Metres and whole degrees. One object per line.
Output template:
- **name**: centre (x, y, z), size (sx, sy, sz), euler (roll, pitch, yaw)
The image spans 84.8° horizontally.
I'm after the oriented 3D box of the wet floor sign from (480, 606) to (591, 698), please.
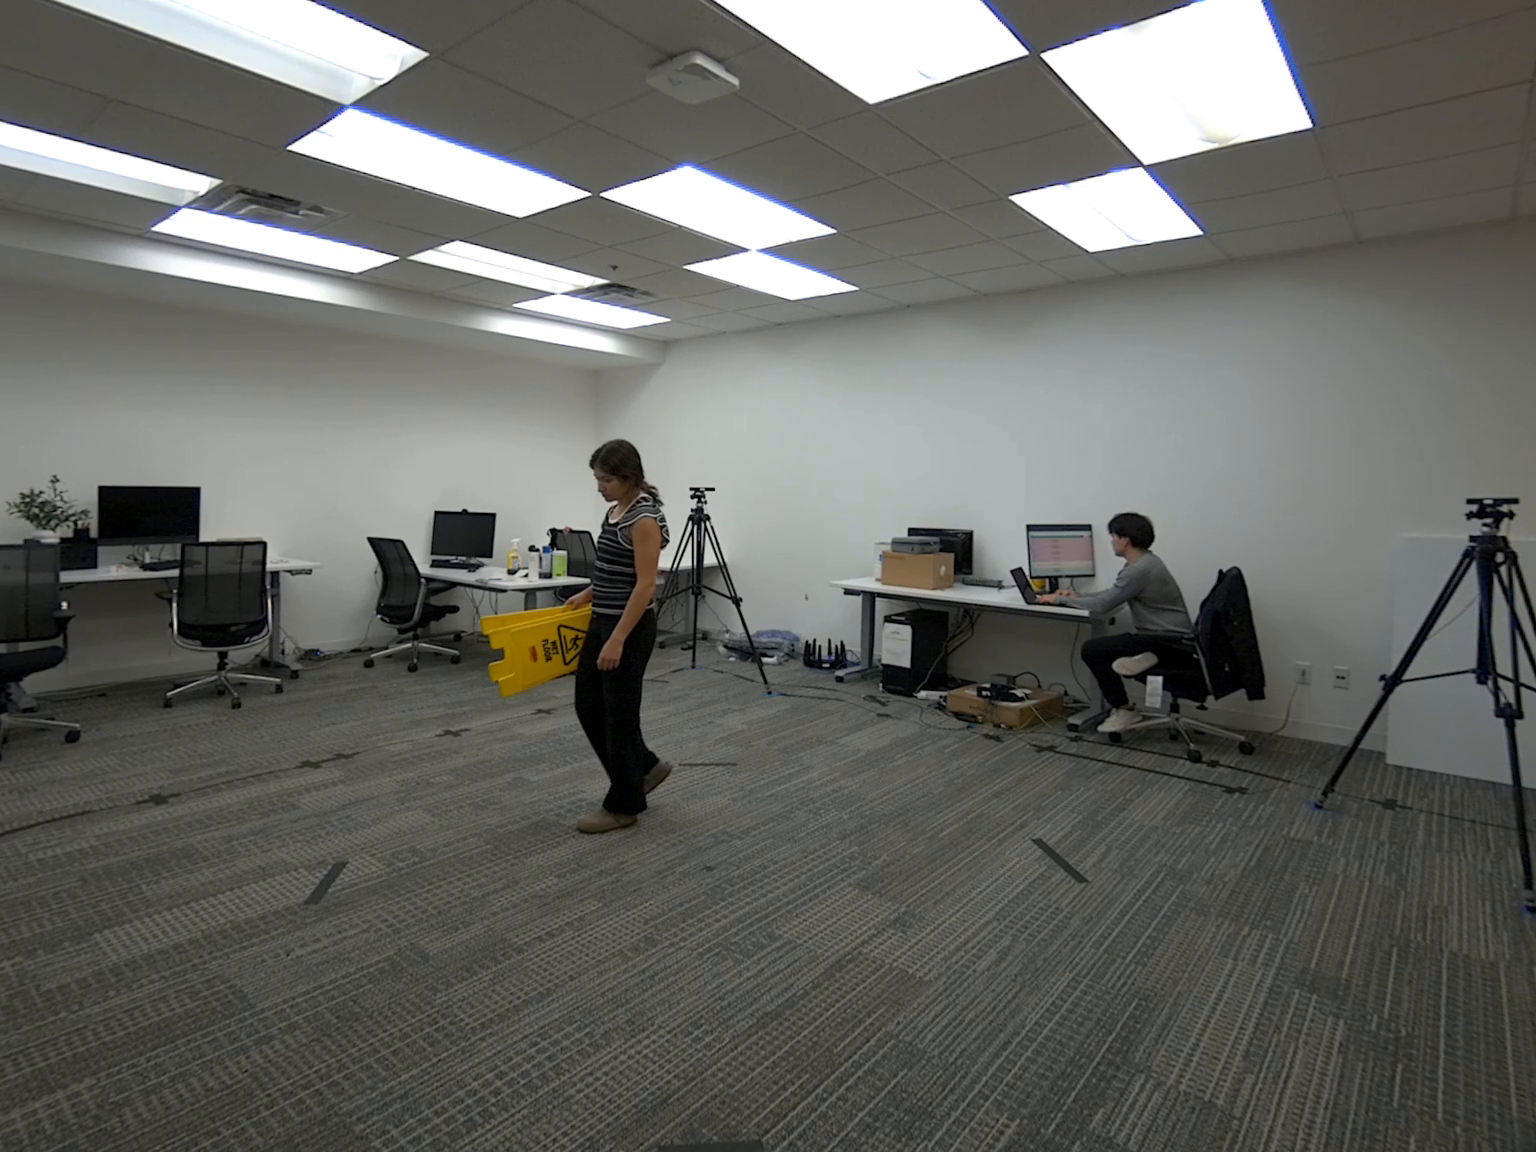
- **wet floor sign**: centre (-0.876, 0.263, 3.638), size (0.635, 0.279, 0.298), euler (-14, 11, -24)
